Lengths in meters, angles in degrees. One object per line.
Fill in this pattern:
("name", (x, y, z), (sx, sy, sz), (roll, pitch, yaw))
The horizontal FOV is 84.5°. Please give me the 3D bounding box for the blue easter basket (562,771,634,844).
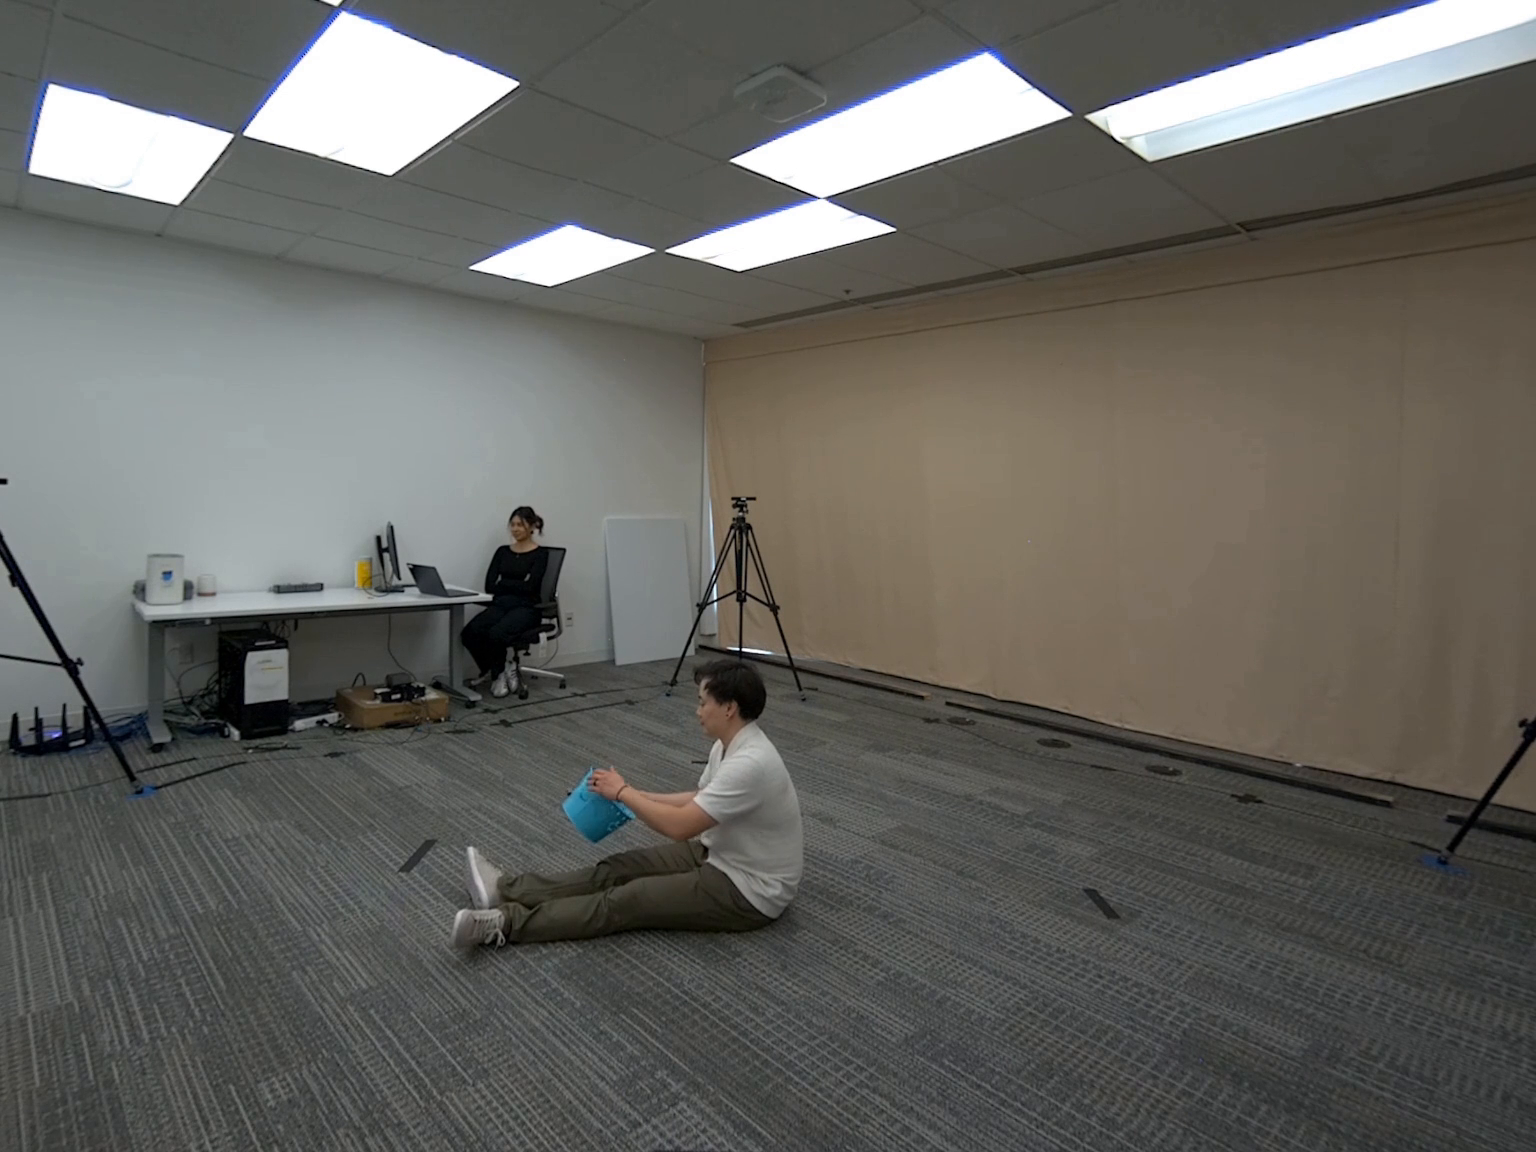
("blue easter basket", (-0.590, 0.801, 2.910), (0.156, 0.241, 0.246), (-40, 11, -6))
